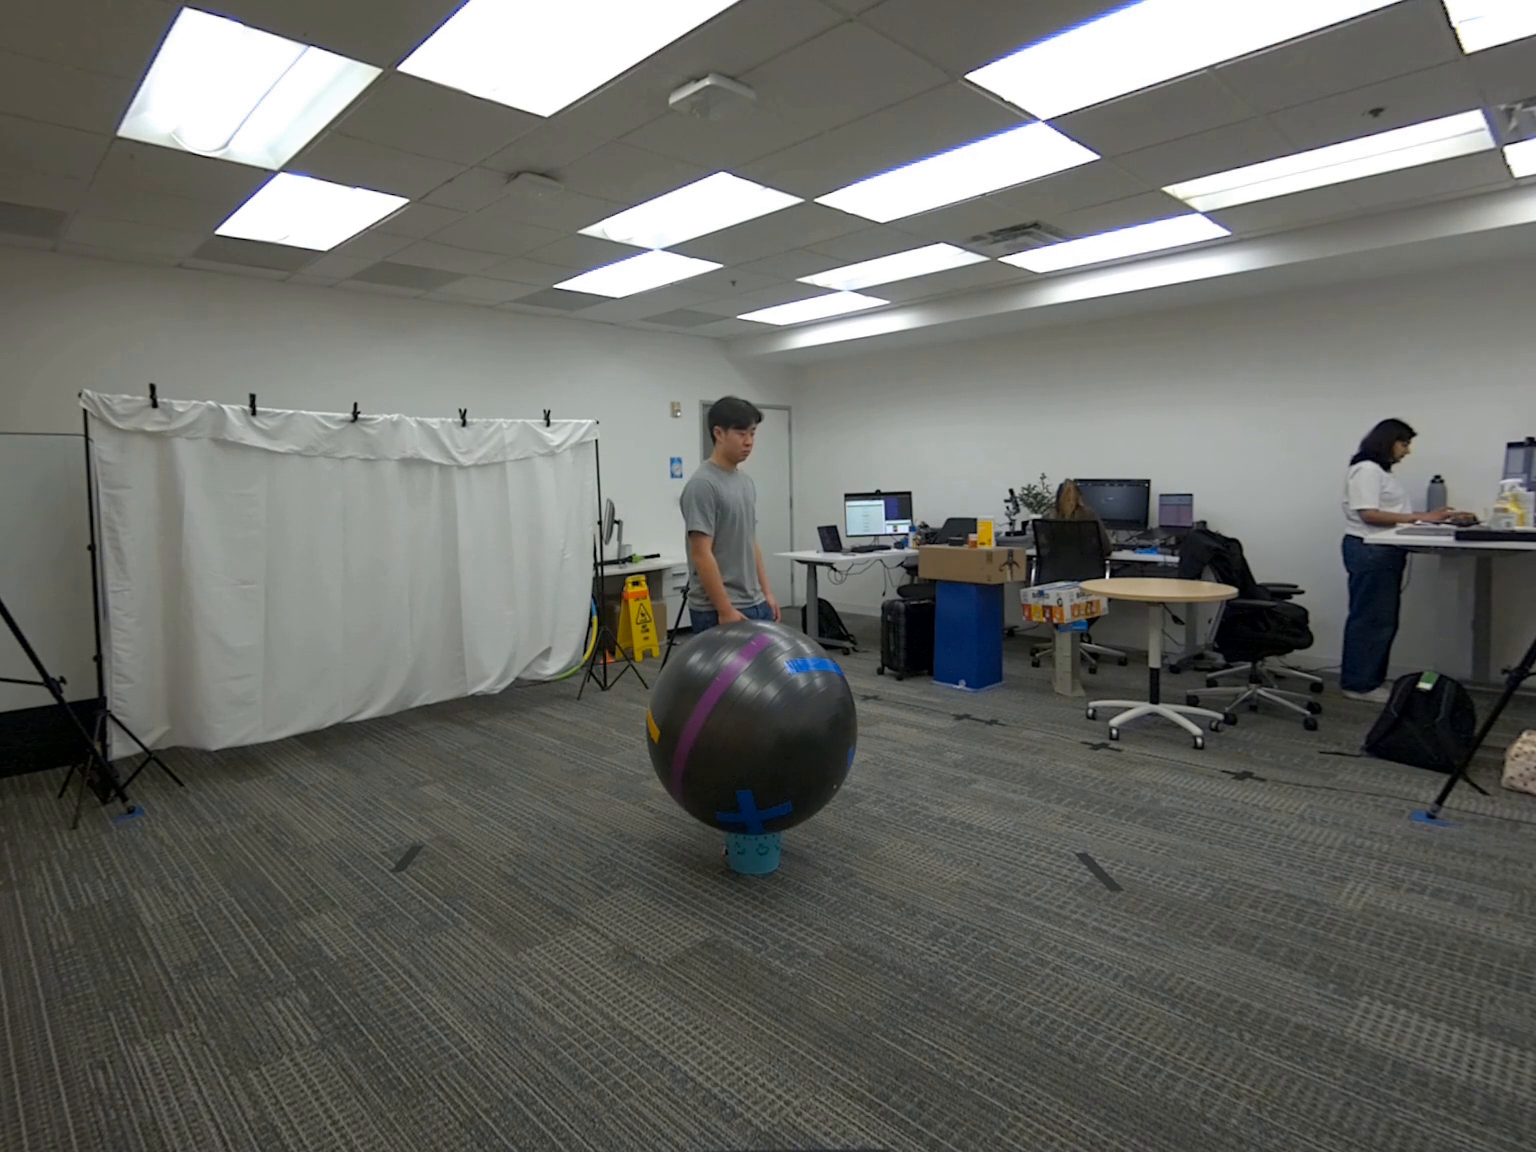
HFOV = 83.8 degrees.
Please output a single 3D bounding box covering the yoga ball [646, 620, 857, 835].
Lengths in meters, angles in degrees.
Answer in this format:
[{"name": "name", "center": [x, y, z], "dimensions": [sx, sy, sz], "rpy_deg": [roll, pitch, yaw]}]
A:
[{"name": "yoga ball", "center": [-0.059, 0.541, 3.082], "dimensions": [0.757, 0.755, 0.762], "rpy_deg": [-1, 5, -2]}]
